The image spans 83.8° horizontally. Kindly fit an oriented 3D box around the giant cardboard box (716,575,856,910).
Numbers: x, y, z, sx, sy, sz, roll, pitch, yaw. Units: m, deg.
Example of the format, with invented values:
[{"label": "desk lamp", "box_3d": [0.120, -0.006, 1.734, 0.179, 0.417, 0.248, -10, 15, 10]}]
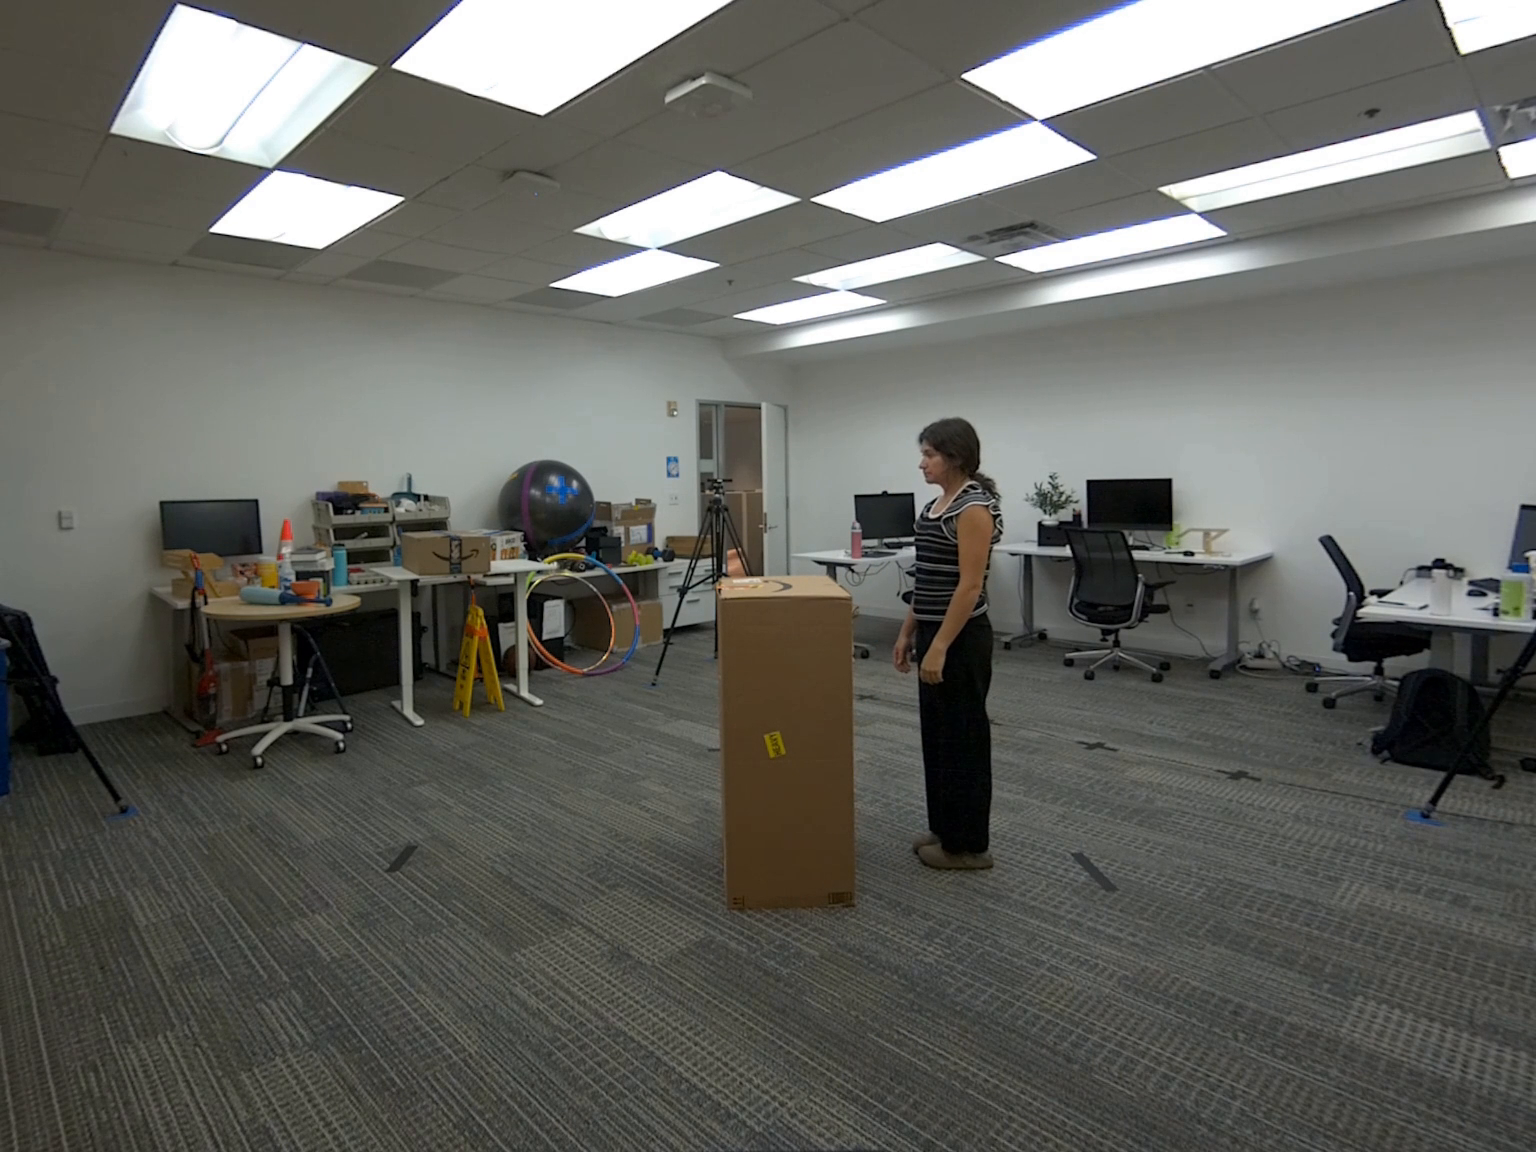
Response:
[{"label": "giant cardboard box", "box_3d": [0.051, 0.545, 3.024, 0.426, 1.022, 0.580, -1, 4, -2]}]
